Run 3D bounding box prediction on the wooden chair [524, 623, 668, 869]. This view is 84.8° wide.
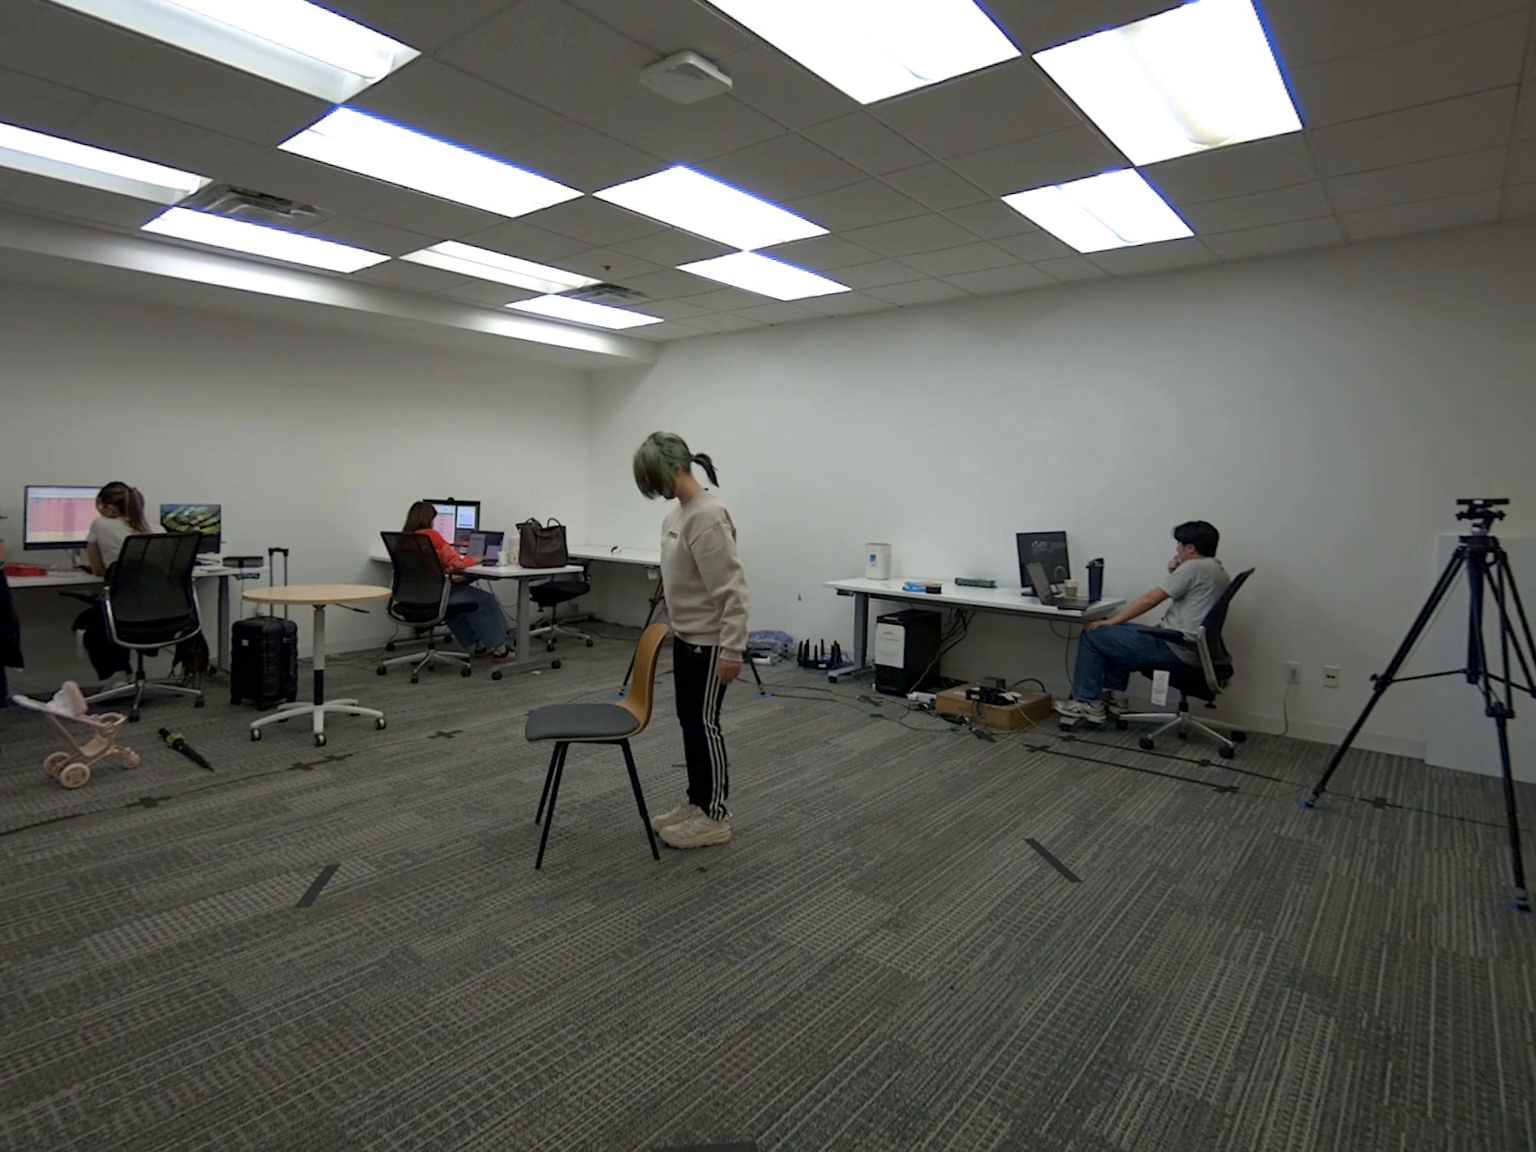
[{"bbox_3d":[-0.696,0.615,3.310,0.514,0.875,0.487,4,3,-16],"label":"wooden chair"}]
